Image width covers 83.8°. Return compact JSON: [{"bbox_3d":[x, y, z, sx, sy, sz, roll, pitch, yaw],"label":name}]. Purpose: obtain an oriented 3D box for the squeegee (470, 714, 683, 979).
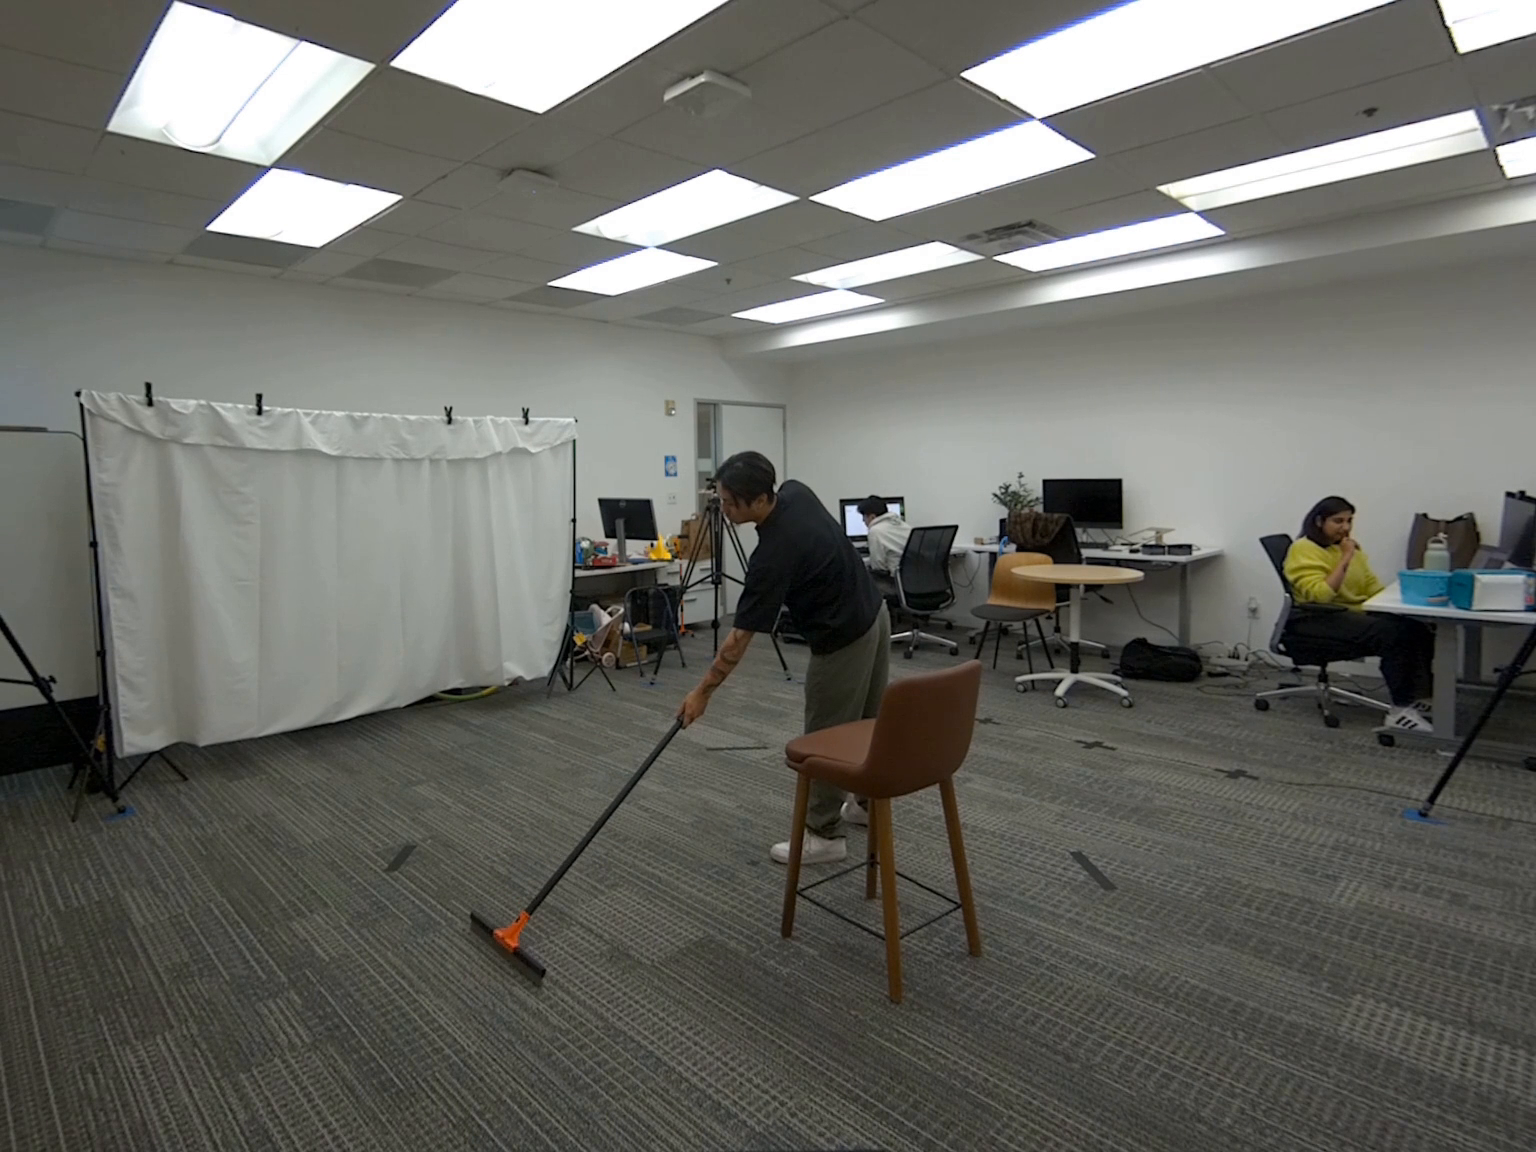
[{"bbox_3d":[-0.367,0.560,2.886,0.450,0.051,1.540,2,44,46],"label":"squeegee"}]
